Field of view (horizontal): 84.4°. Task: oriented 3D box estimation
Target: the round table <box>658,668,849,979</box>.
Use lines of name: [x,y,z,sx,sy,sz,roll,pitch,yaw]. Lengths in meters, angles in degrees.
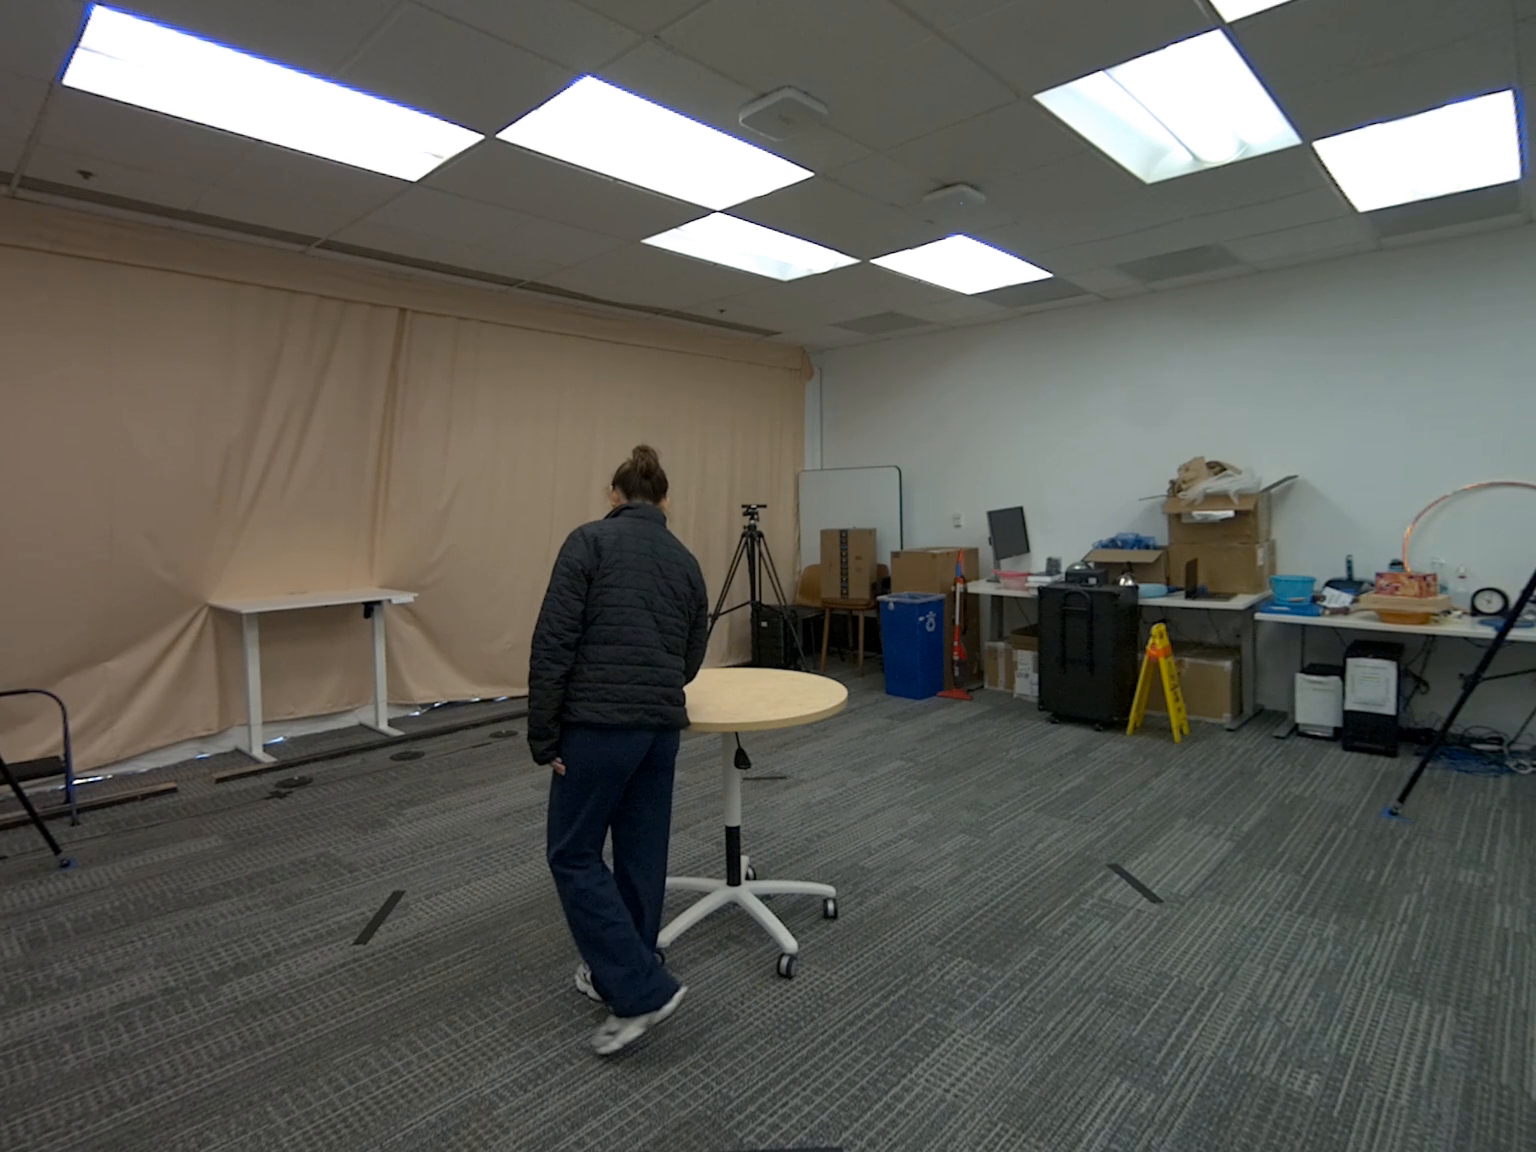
round table: [-0.109,0.766,2.785,0.784,0.784,0.788,-2,4,-2]
